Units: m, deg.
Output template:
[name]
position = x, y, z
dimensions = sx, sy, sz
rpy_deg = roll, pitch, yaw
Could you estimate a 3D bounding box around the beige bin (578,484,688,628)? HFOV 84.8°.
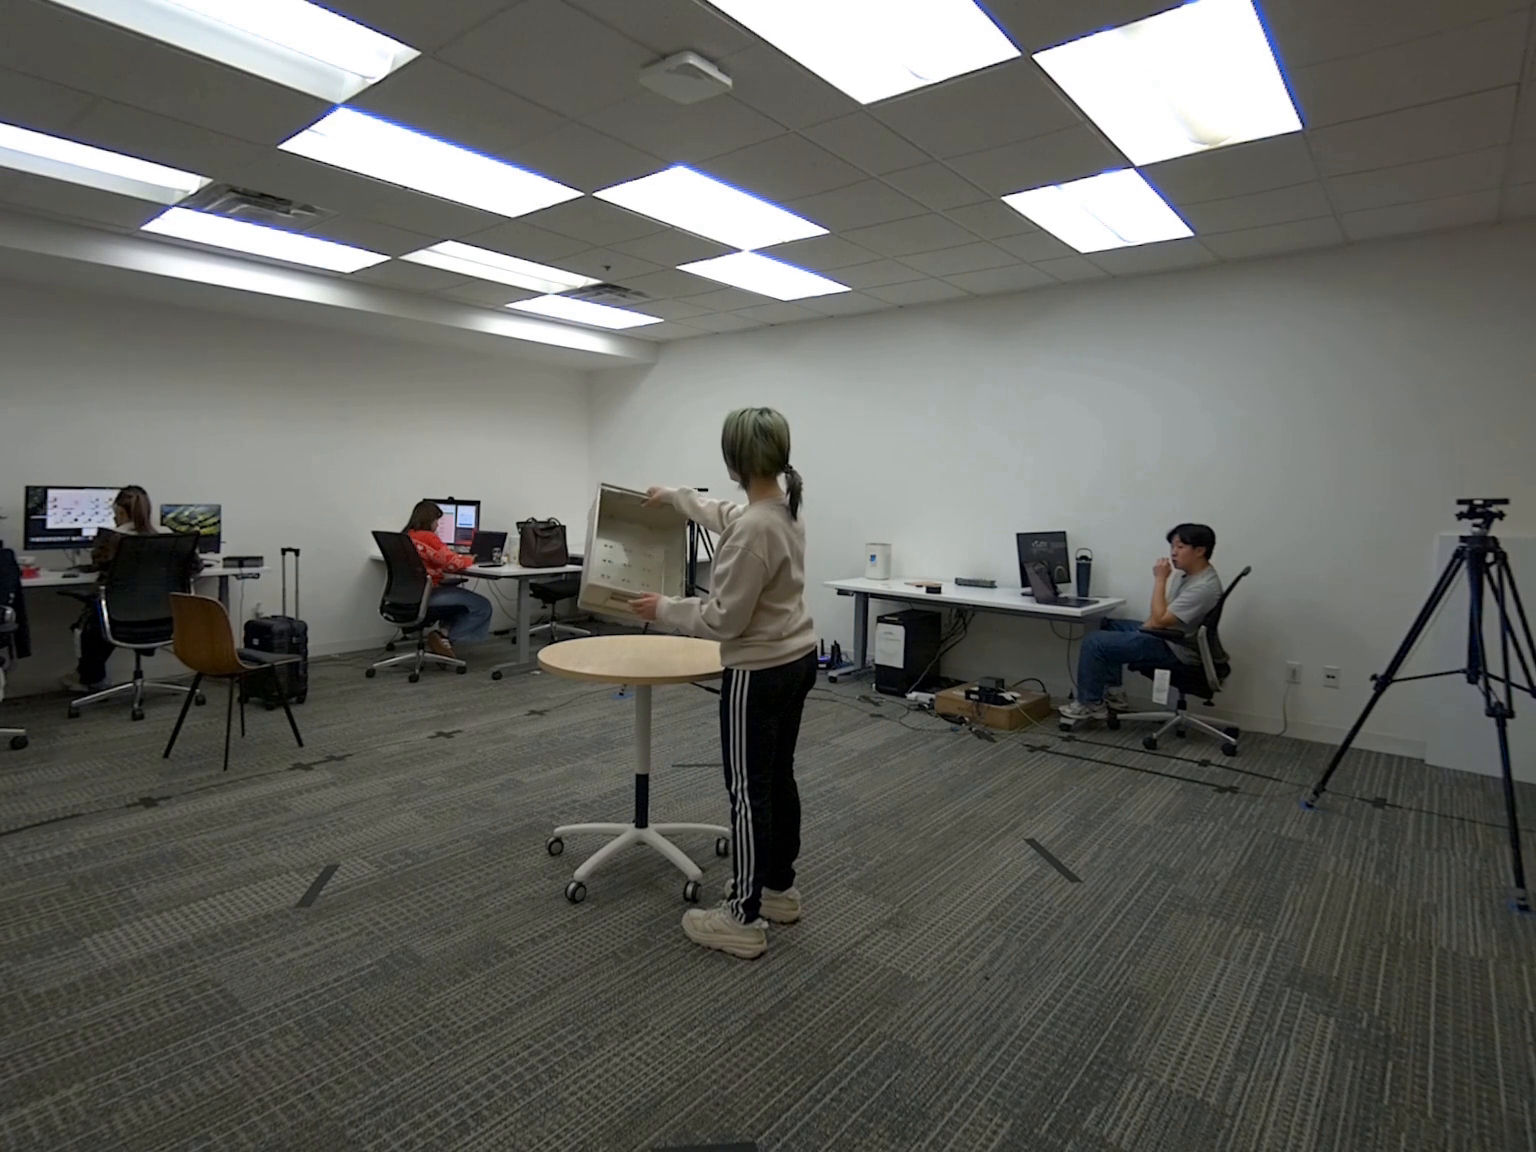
[beige bin]
position = -0.477, -0.078, 3.030
dimensions = 0.369, 0.434, 0.188
rpy_deg = 12, -36, -18
